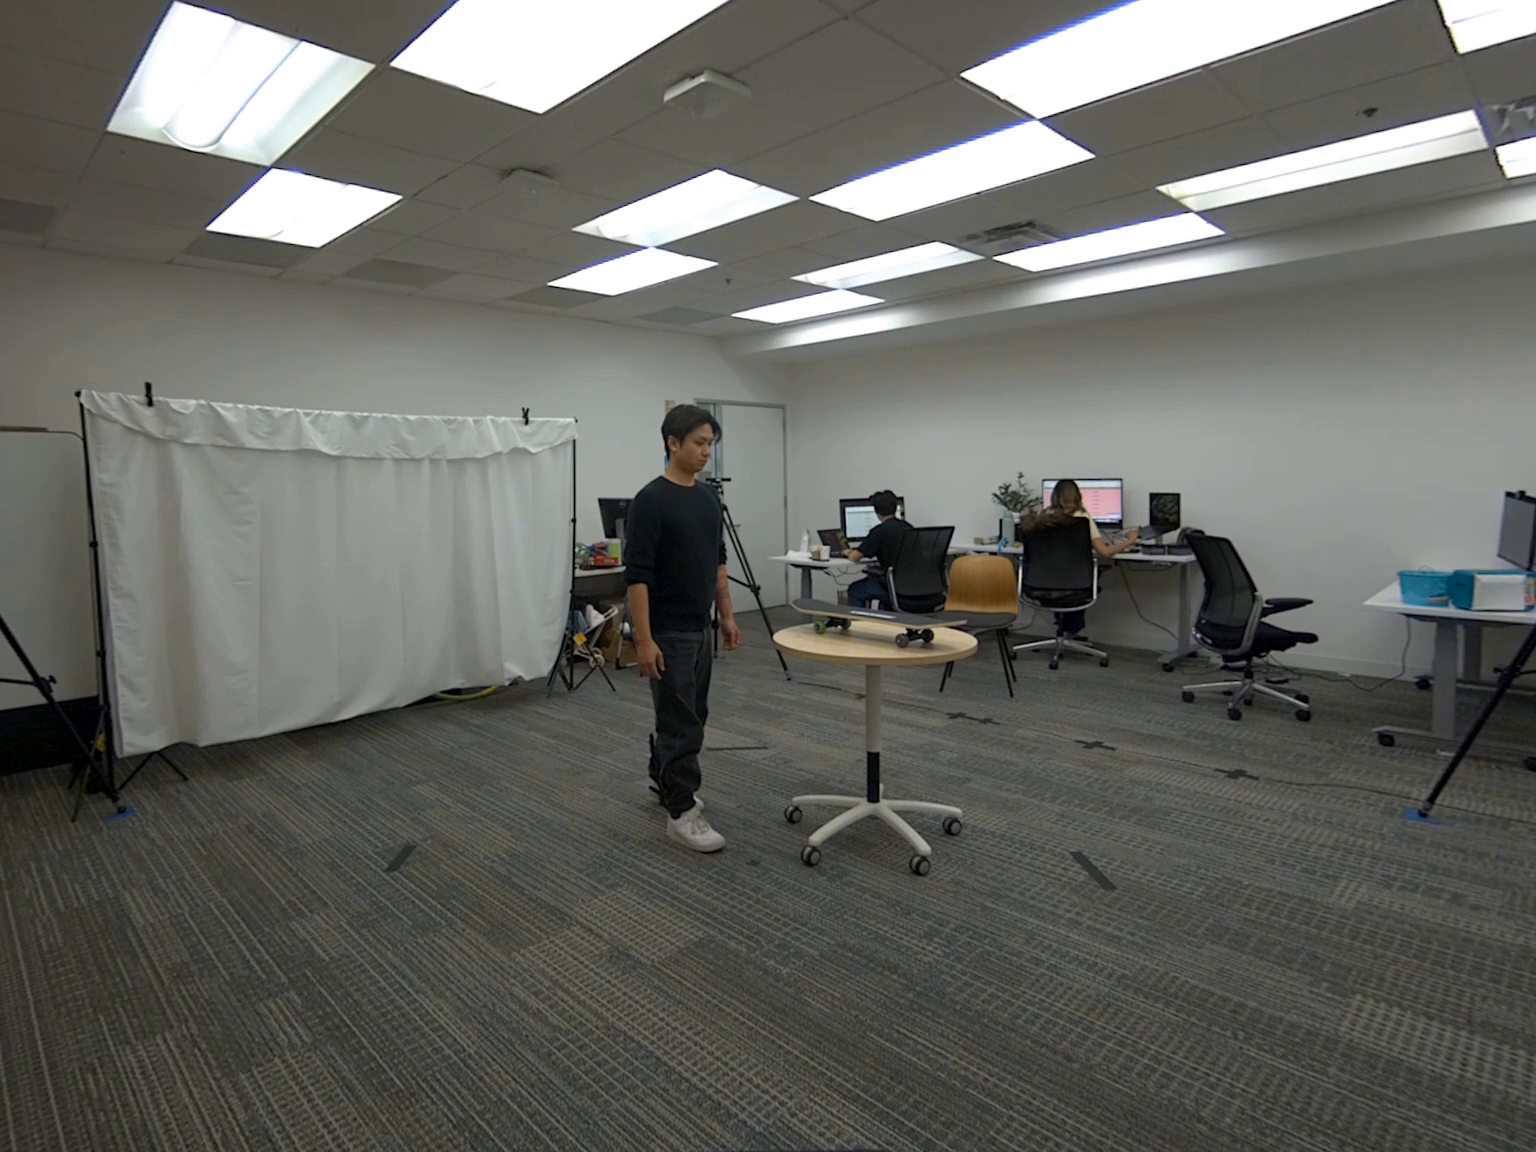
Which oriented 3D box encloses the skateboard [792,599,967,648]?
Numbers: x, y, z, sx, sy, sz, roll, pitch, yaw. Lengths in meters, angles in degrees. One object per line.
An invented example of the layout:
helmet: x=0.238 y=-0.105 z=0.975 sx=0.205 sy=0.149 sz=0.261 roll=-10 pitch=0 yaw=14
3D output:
skateboard: x=0.400 y=0.184 z=3.252 sx=0.188 sy=0.110 sz=0.810 roll=-5 pitch=7 yaw=-43
